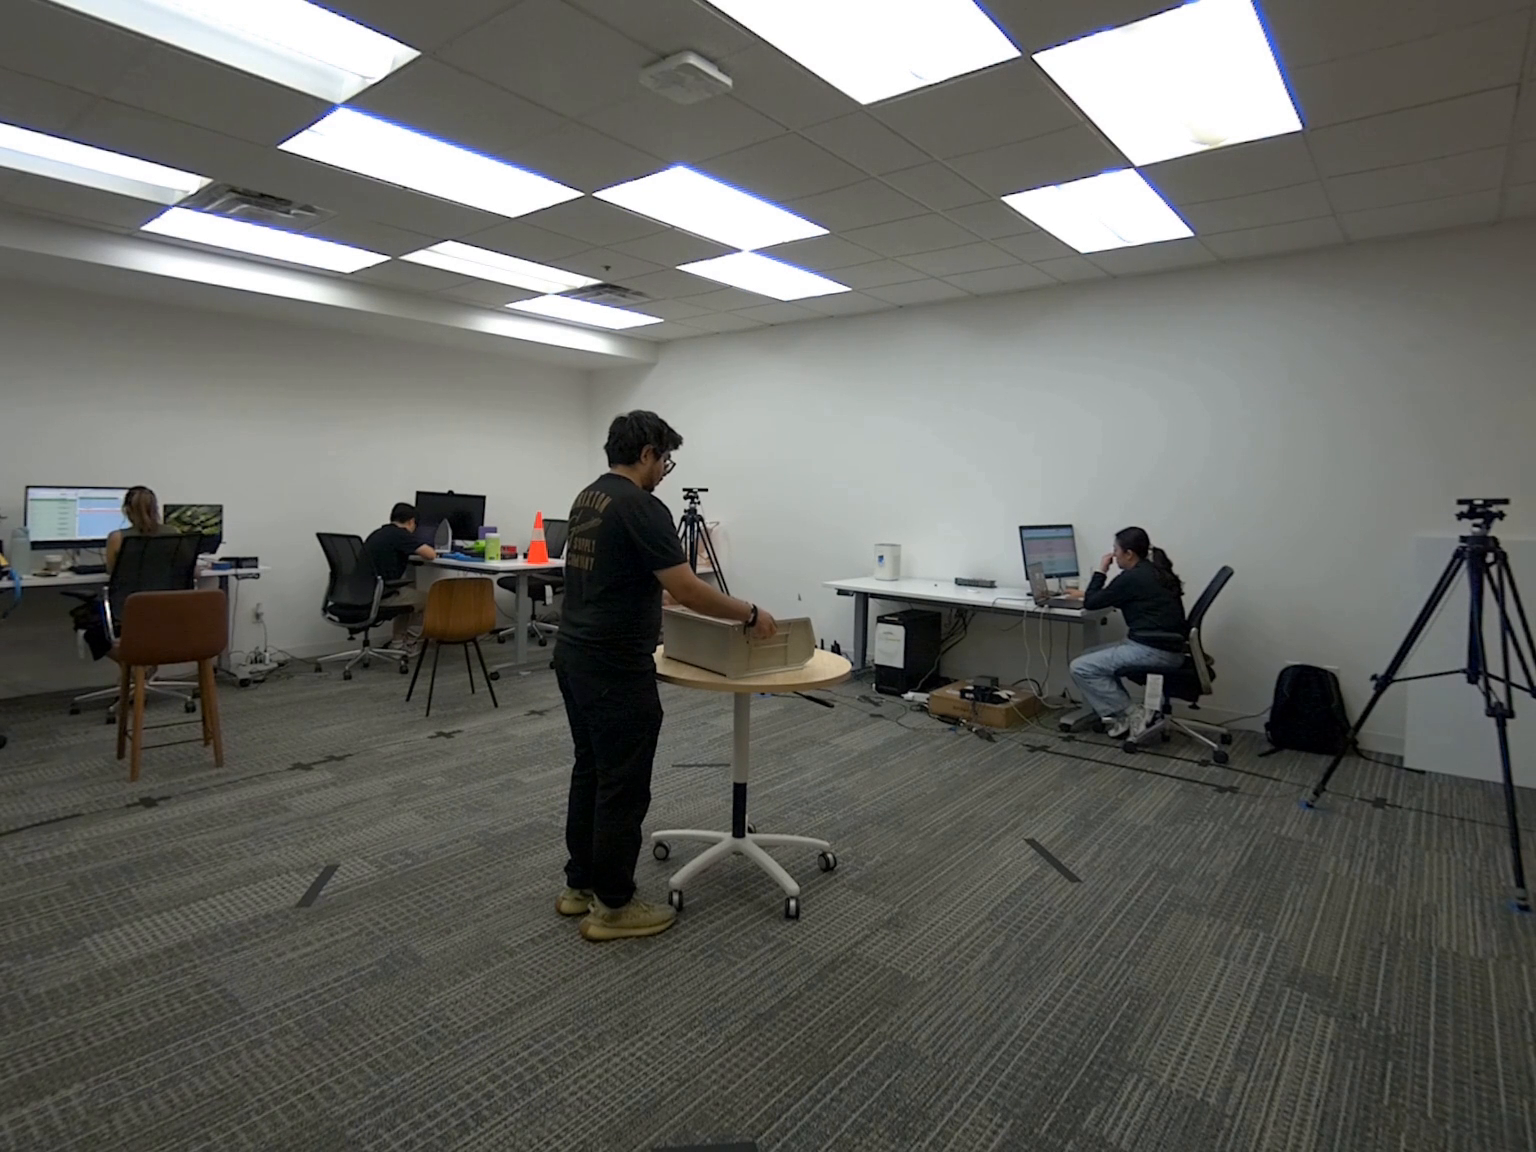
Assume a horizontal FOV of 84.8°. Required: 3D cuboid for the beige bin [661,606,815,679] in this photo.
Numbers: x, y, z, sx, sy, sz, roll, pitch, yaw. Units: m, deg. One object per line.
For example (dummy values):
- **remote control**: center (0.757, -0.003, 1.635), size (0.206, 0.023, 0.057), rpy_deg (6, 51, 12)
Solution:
- **beige bin**: center (-0.120, 0.211, 2.984), size (0.366, 0.188, 0.437), rpy_deg (-4, 8, -39)
